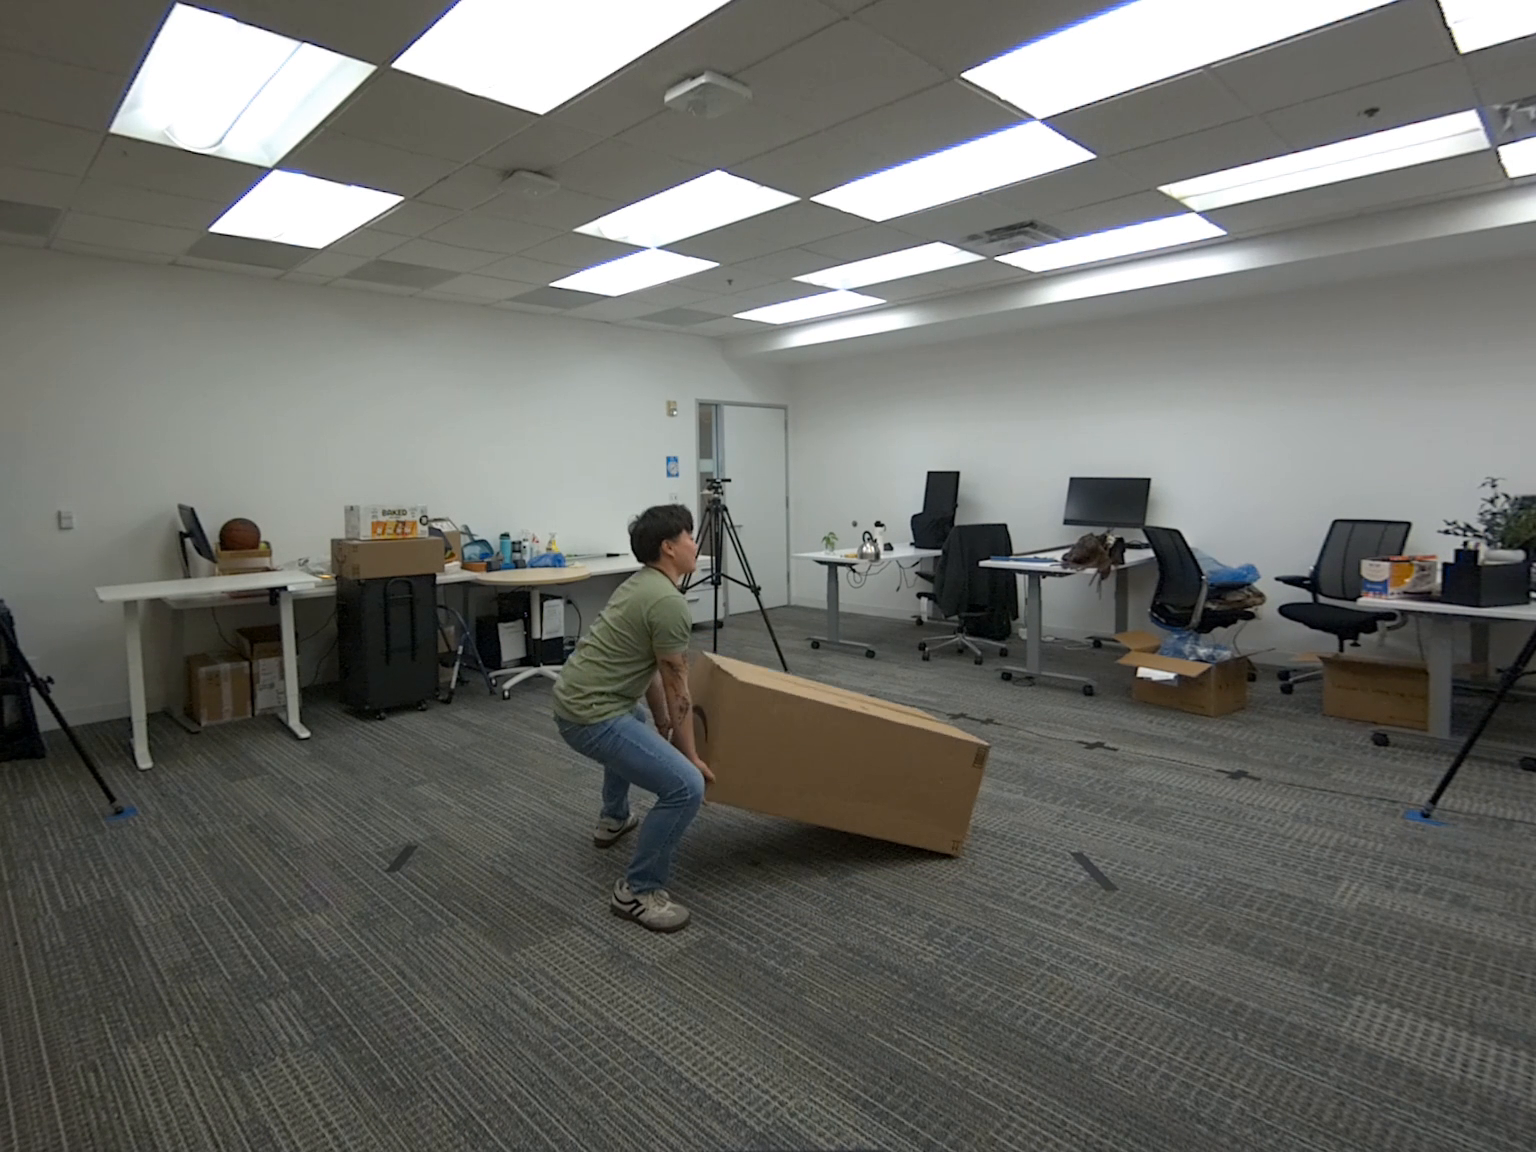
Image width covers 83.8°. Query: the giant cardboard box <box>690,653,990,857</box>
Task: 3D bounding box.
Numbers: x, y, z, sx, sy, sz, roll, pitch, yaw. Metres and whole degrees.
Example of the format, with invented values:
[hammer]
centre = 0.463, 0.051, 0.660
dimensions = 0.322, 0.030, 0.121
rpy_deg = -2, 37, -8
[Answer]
[giant cardboard box]
centre = 0.211, 0.656, 3.264
dimensions = 1.007, 0.426, 0.588
rpy_deg = 17, -1, -16
